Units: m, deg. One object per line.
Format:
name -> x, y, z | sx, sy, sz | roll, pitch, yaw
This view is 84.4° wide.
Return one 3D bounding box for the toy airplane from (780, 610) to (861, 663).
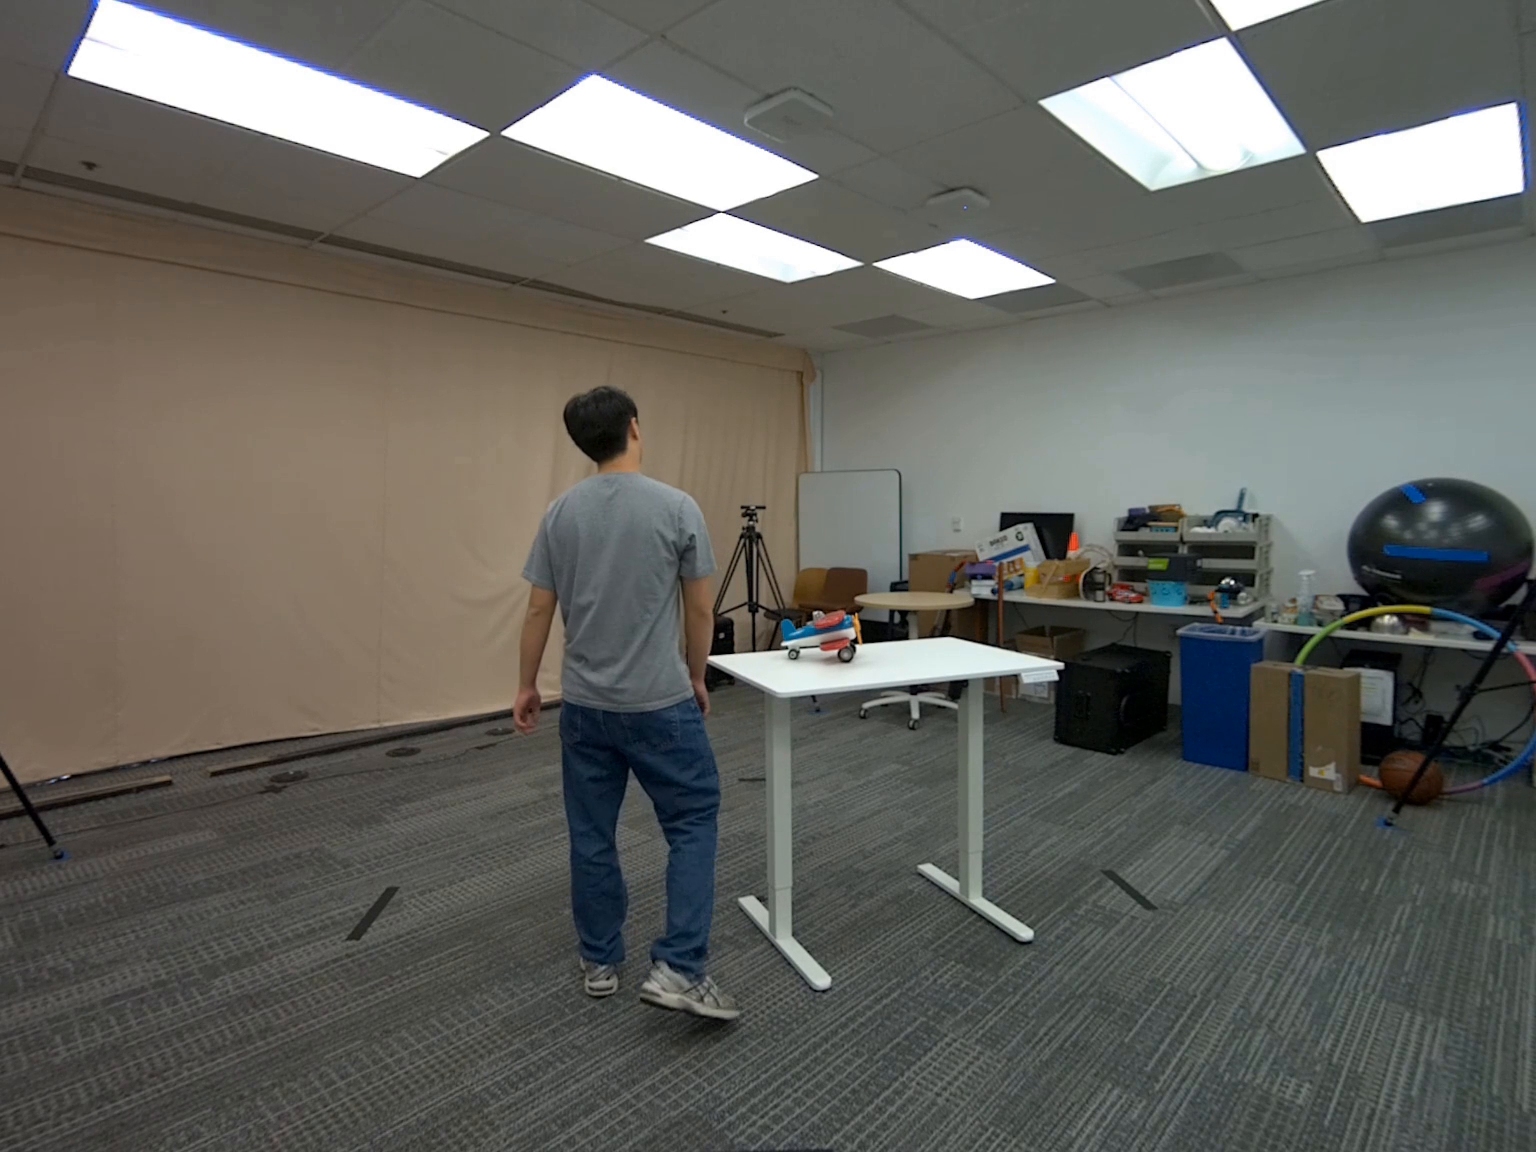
toy airplane -> 0.182, 0.201, 2.767 | 0.254, 0.156, 0.256 | -1, 4, -19
